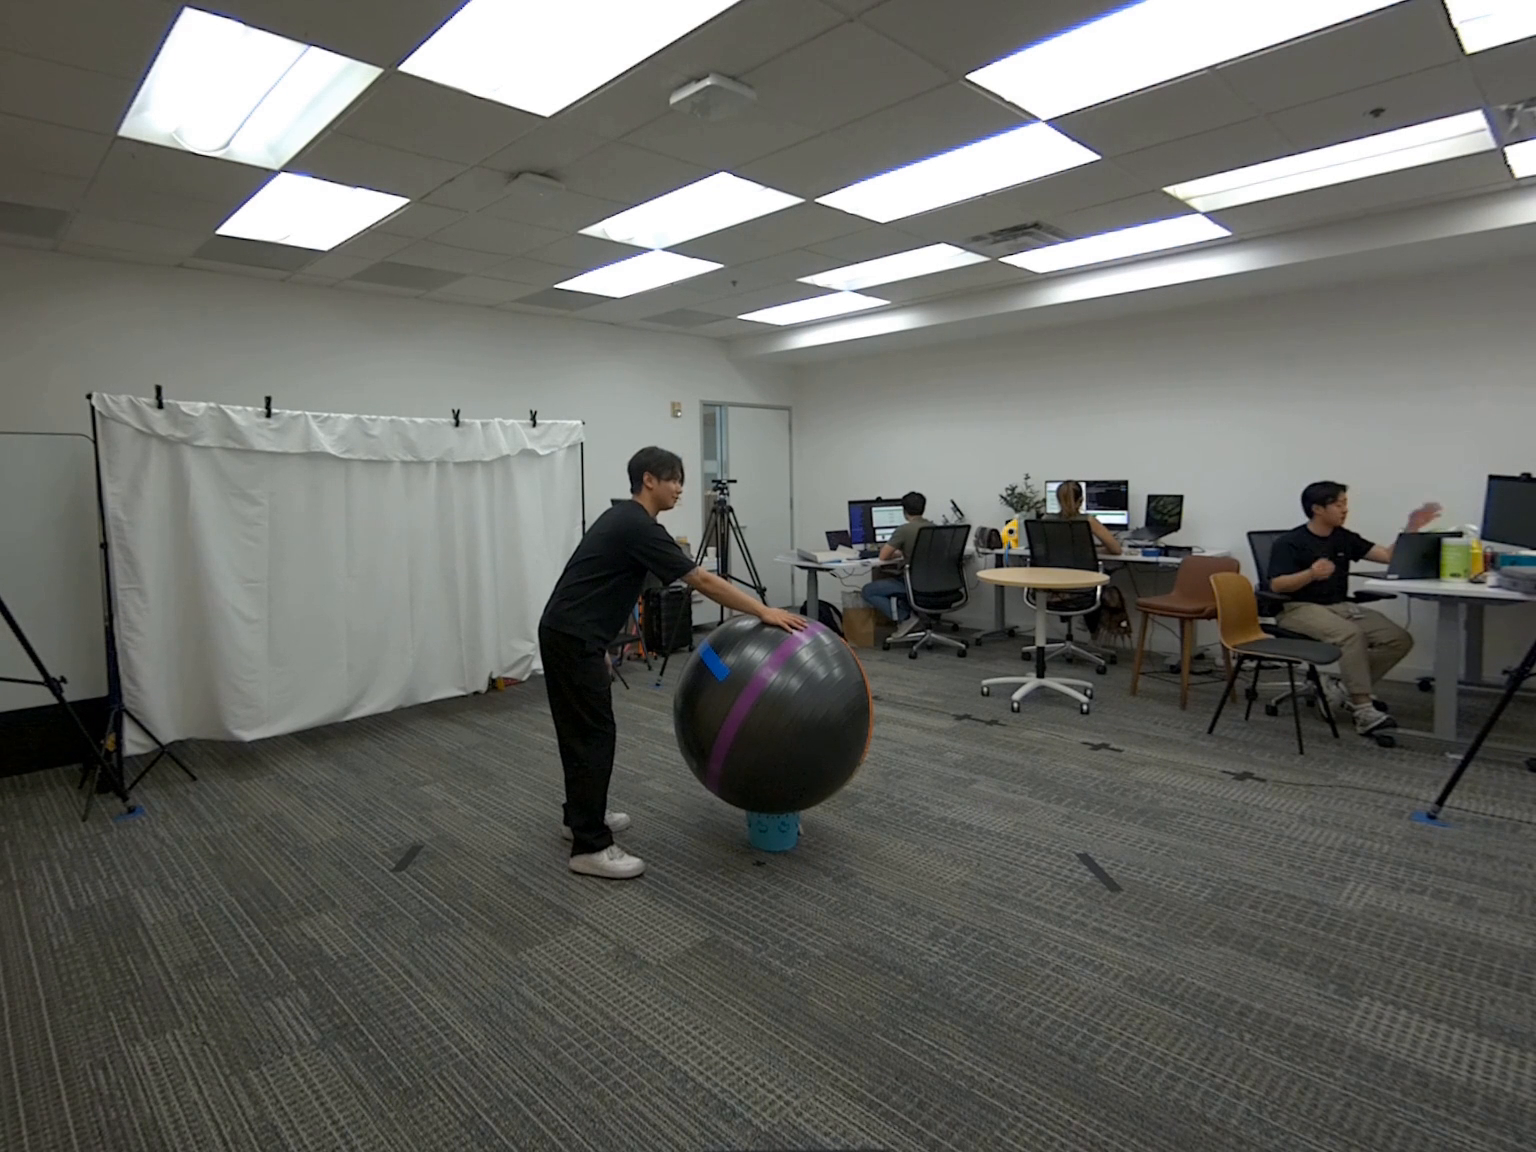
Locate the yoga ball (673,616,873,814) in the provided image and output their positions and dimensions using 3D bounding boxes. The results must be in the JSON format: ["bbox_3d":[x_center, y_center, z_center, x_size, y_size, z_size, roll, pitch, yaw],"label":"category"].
[{"bbox_3d":[0.026,0.519,3.272,0.757,0.755,0.762,-1,5,-2],"label":"yoga ball"}]
